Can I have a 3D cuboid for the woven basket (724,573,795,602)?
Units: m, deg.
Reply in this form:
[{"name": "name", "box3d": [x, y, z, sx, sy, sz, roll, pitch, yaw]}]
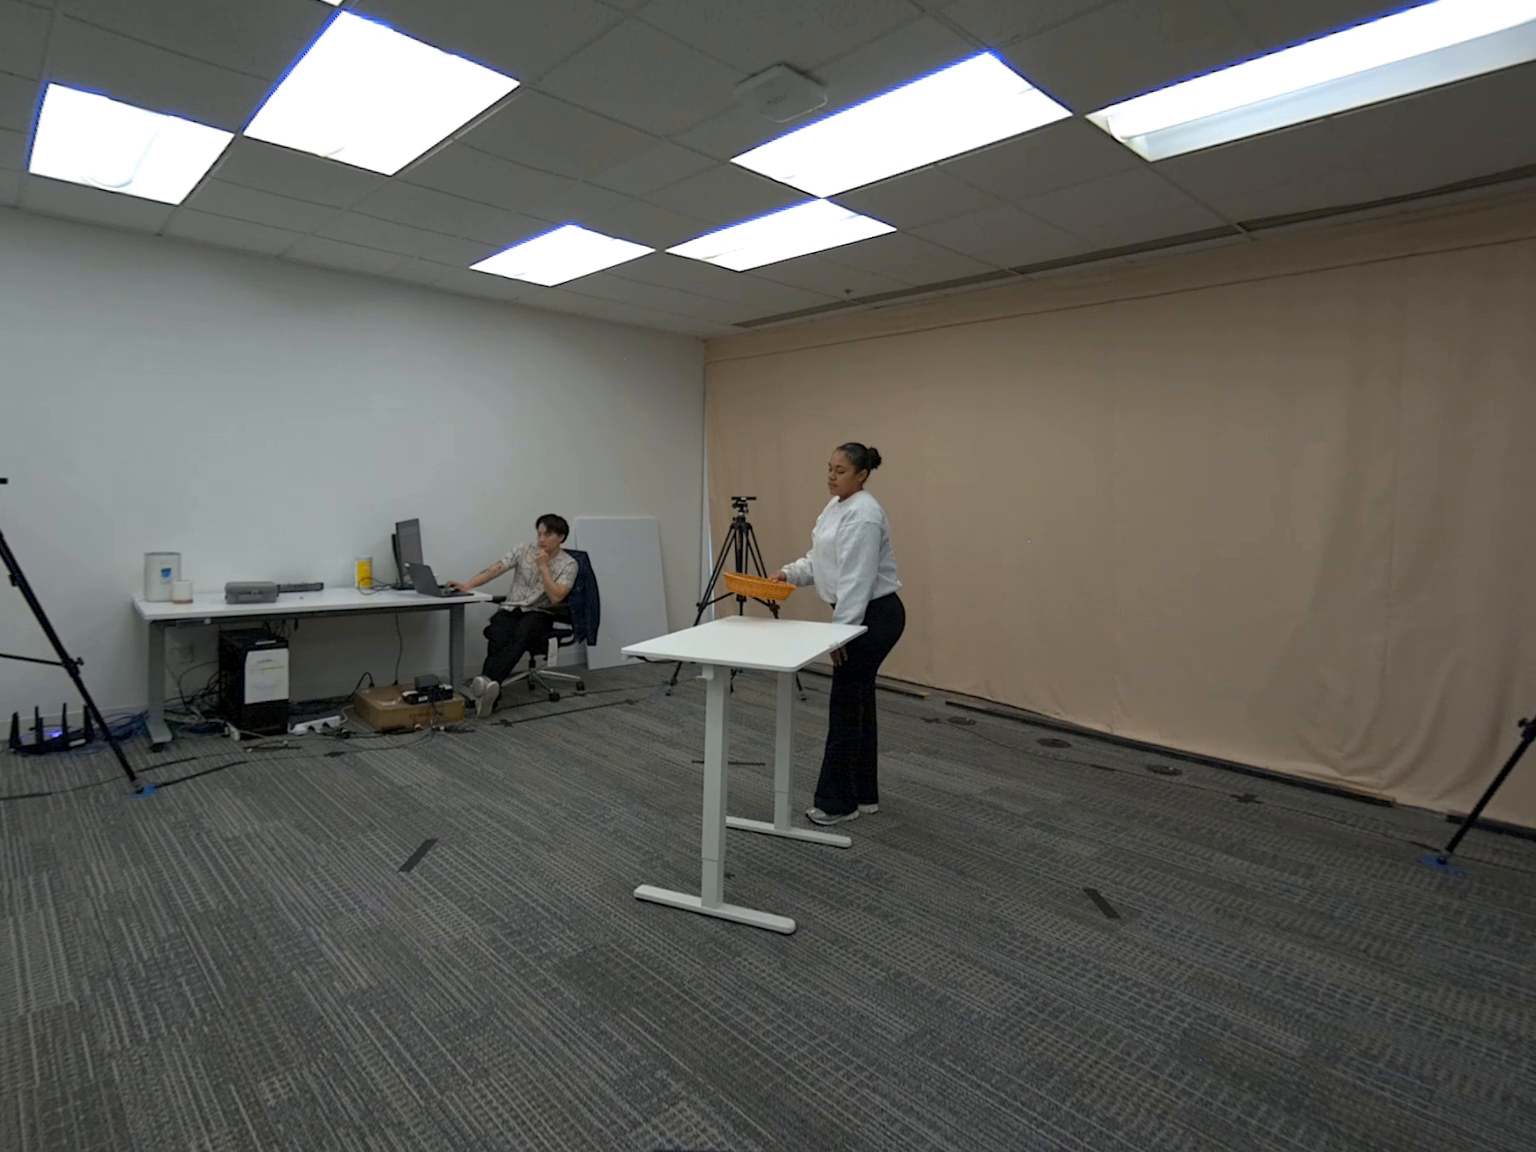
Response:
[{"name": "woven basket", "box3d": [-0.041, 0.064, 3.646, 0.341, 0.073, 0.259, 8, 4, -36]}]
